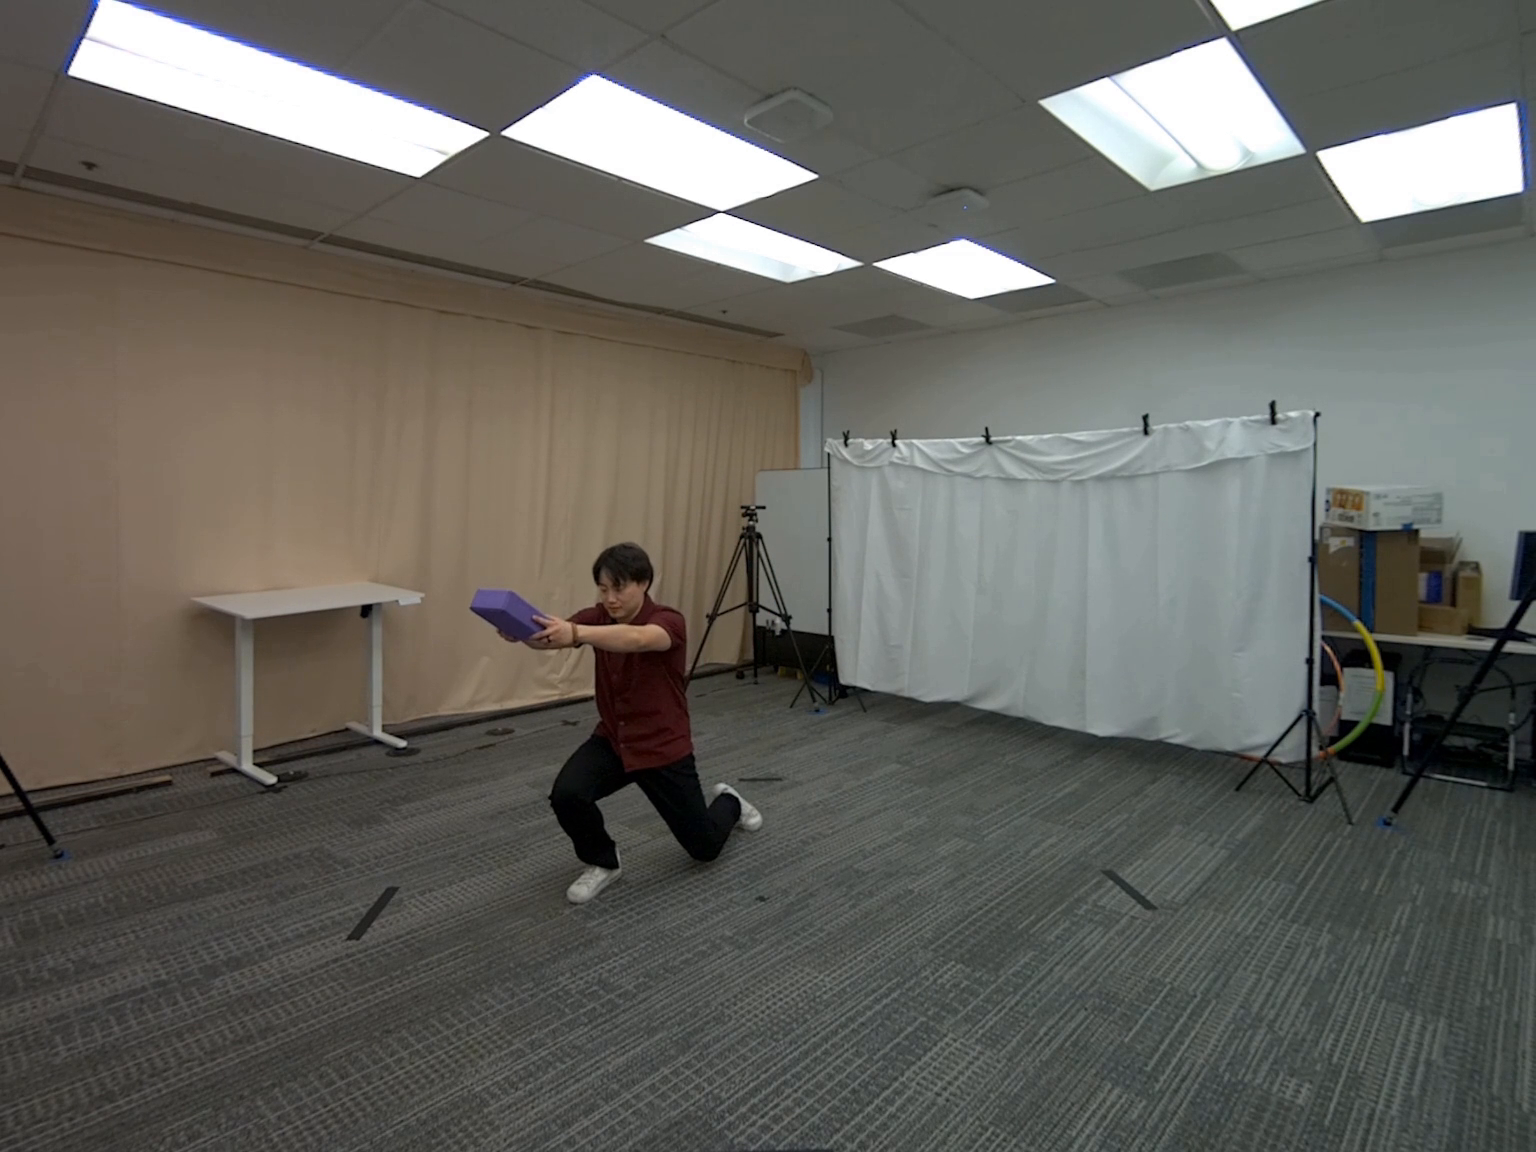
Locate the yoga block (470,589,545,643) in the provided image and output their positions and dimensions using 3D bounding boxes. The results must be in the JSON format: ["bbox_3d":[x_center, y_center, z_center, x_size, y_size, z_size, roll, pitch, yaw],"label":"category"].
[{"bbox_3d":[-0.807,0.116,2.622,0.153,0.077,0.221,1,-31,30],"label":"yoga block"}]
